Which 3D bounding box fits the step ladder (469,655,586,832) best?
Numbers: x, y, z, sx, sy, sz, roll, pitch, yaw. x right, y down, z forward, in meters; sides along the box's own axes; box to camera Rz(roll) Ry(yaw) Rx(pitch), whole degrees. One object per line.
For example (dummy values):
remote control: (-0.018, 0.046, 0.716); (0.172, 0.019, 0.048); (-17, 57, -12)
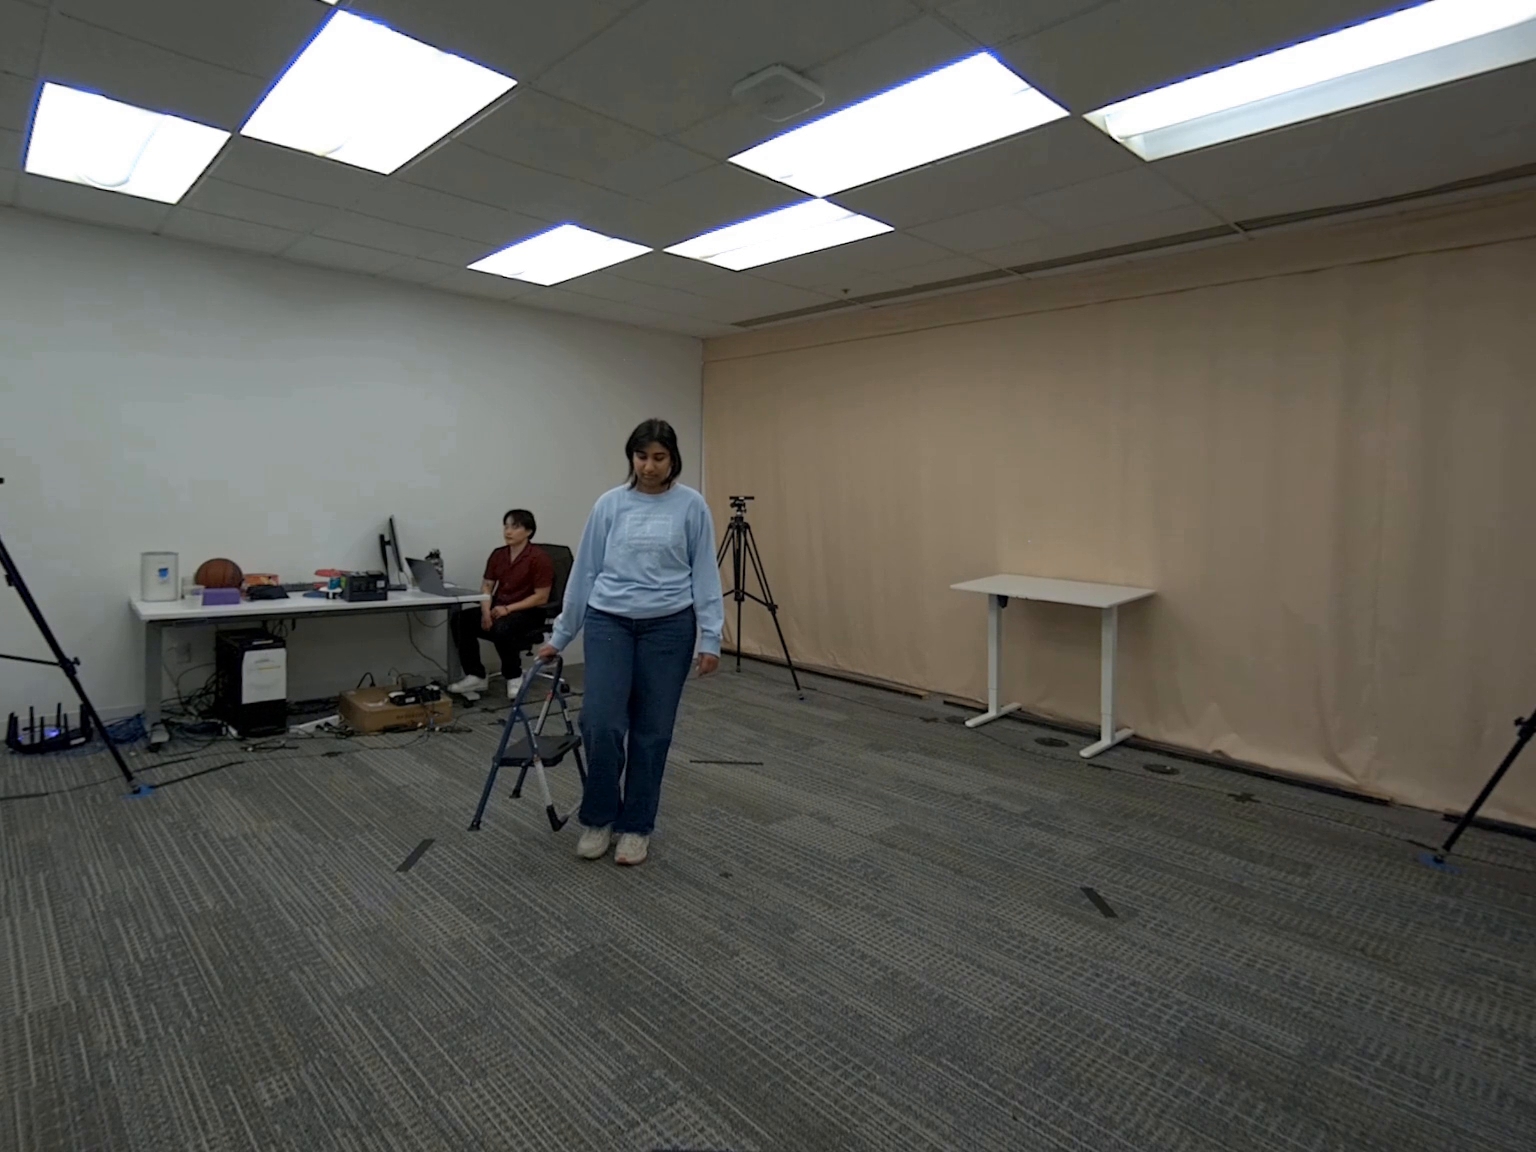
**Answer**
step ladder: (-0.913, 0.616, 3.246); (0.350, 0.605, 0.429); (-1, 1, 3)
